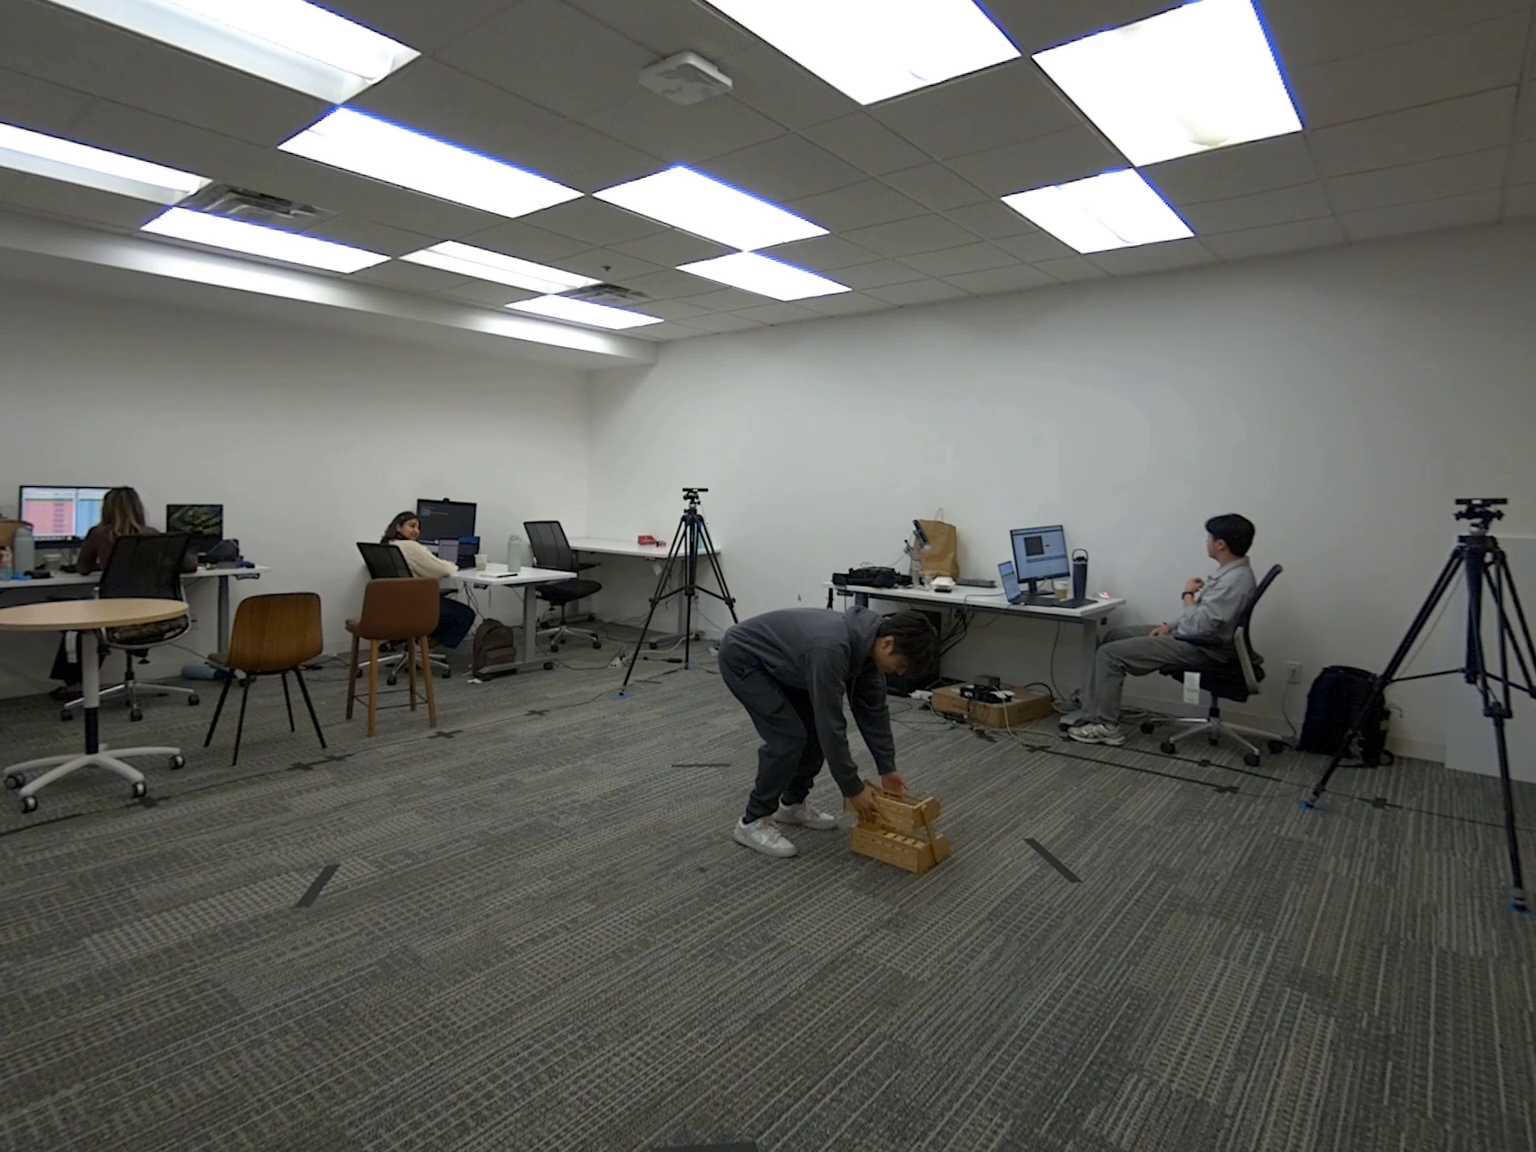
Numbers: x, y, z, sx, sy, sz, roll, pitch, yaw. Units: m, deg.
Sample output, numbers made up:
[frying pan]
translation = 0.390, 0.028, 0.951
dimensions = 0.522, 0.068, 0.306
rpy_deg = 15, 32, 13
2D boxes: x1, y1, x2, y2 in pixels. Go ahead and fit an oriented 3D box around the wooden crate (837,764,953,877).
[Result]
[wooden crate]
translation = 0.492, 0.929, 3.266
dimensions = 0.335, 0.272, 0.293
rpy_deg = 5, 6, 39
